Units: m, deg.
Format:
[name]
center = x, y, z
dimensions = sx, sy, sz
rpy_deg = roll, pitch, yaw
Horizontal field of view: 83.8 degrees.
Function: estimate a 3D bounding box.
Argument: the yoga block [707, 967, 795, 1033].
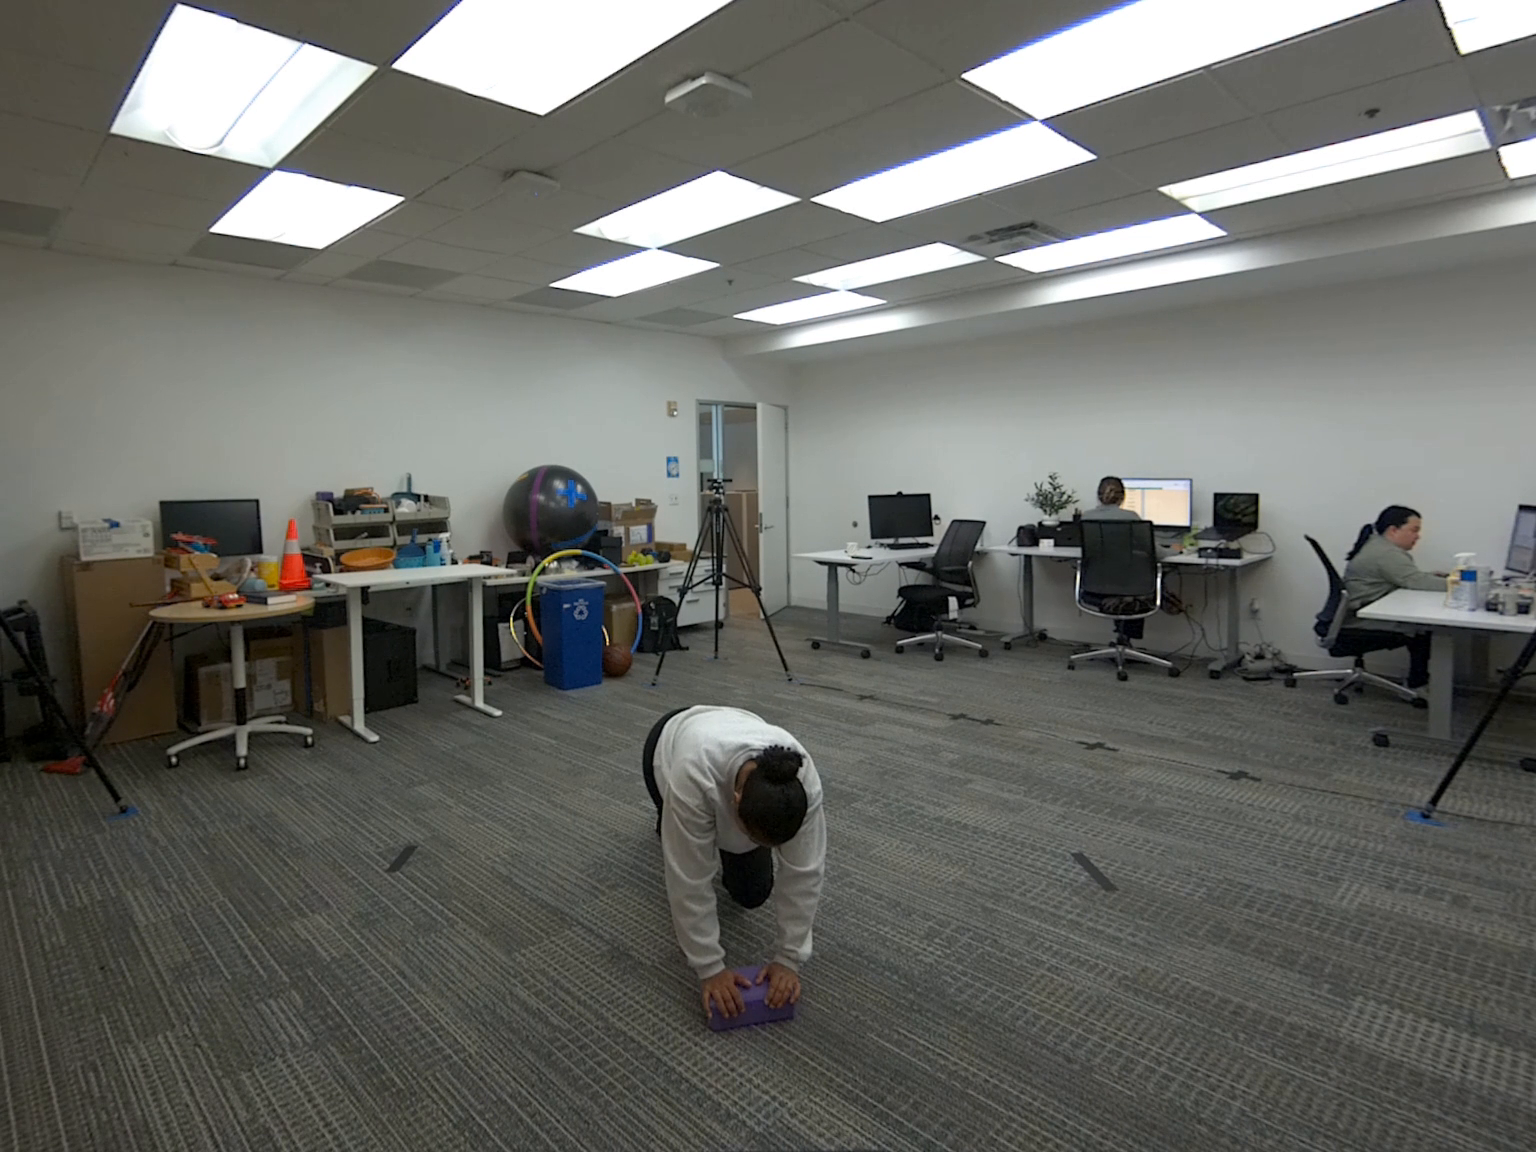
[yoga block]
center = -0.046, 1.122, 2.253
dimensions = 0.226, 0.076, 0.152
rpy_deg = -1, 8, -13
